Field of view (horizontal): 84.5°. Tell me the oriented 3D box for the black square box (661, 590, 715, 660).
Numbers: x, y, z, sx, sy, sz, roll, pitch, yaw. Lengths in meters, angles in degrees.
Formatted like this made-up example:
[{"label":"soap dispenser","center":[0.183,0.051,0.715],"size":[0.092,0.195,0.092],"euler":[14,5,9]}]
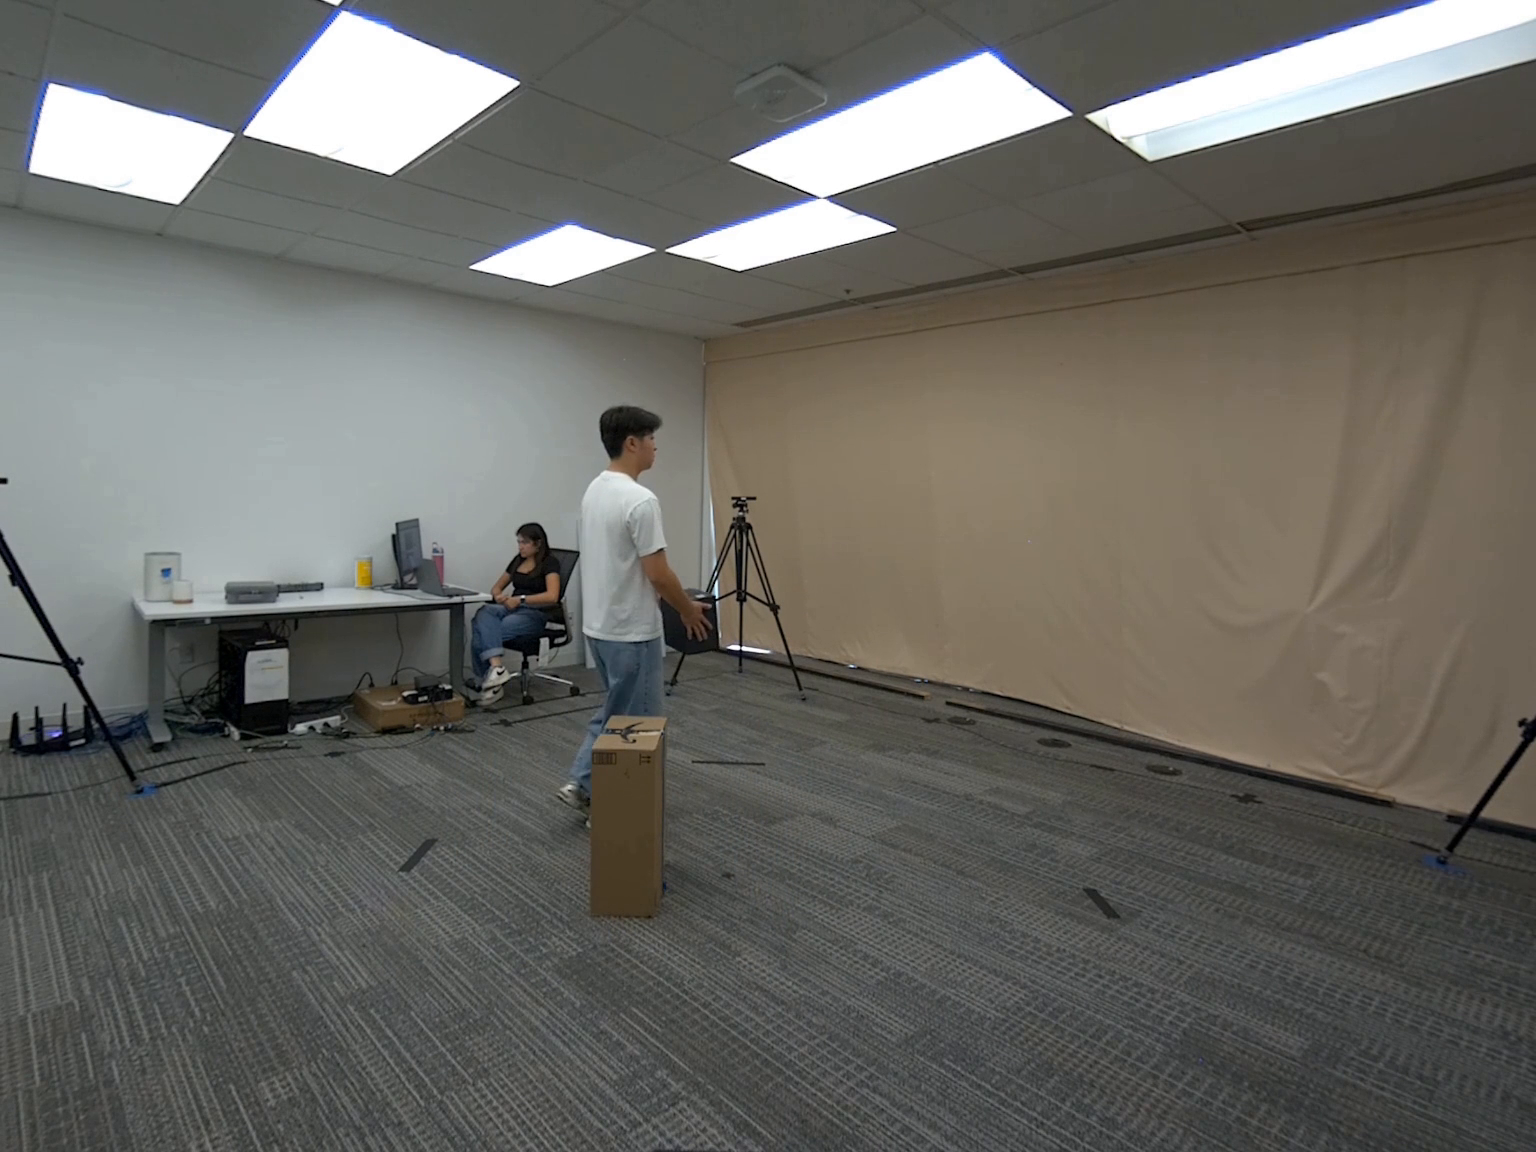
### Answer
[{"label":"black square box","center":[-0.354,0.199,3.584],"size":[0.153,0.226,0.222],"euler":[-9,12,-30]}]
